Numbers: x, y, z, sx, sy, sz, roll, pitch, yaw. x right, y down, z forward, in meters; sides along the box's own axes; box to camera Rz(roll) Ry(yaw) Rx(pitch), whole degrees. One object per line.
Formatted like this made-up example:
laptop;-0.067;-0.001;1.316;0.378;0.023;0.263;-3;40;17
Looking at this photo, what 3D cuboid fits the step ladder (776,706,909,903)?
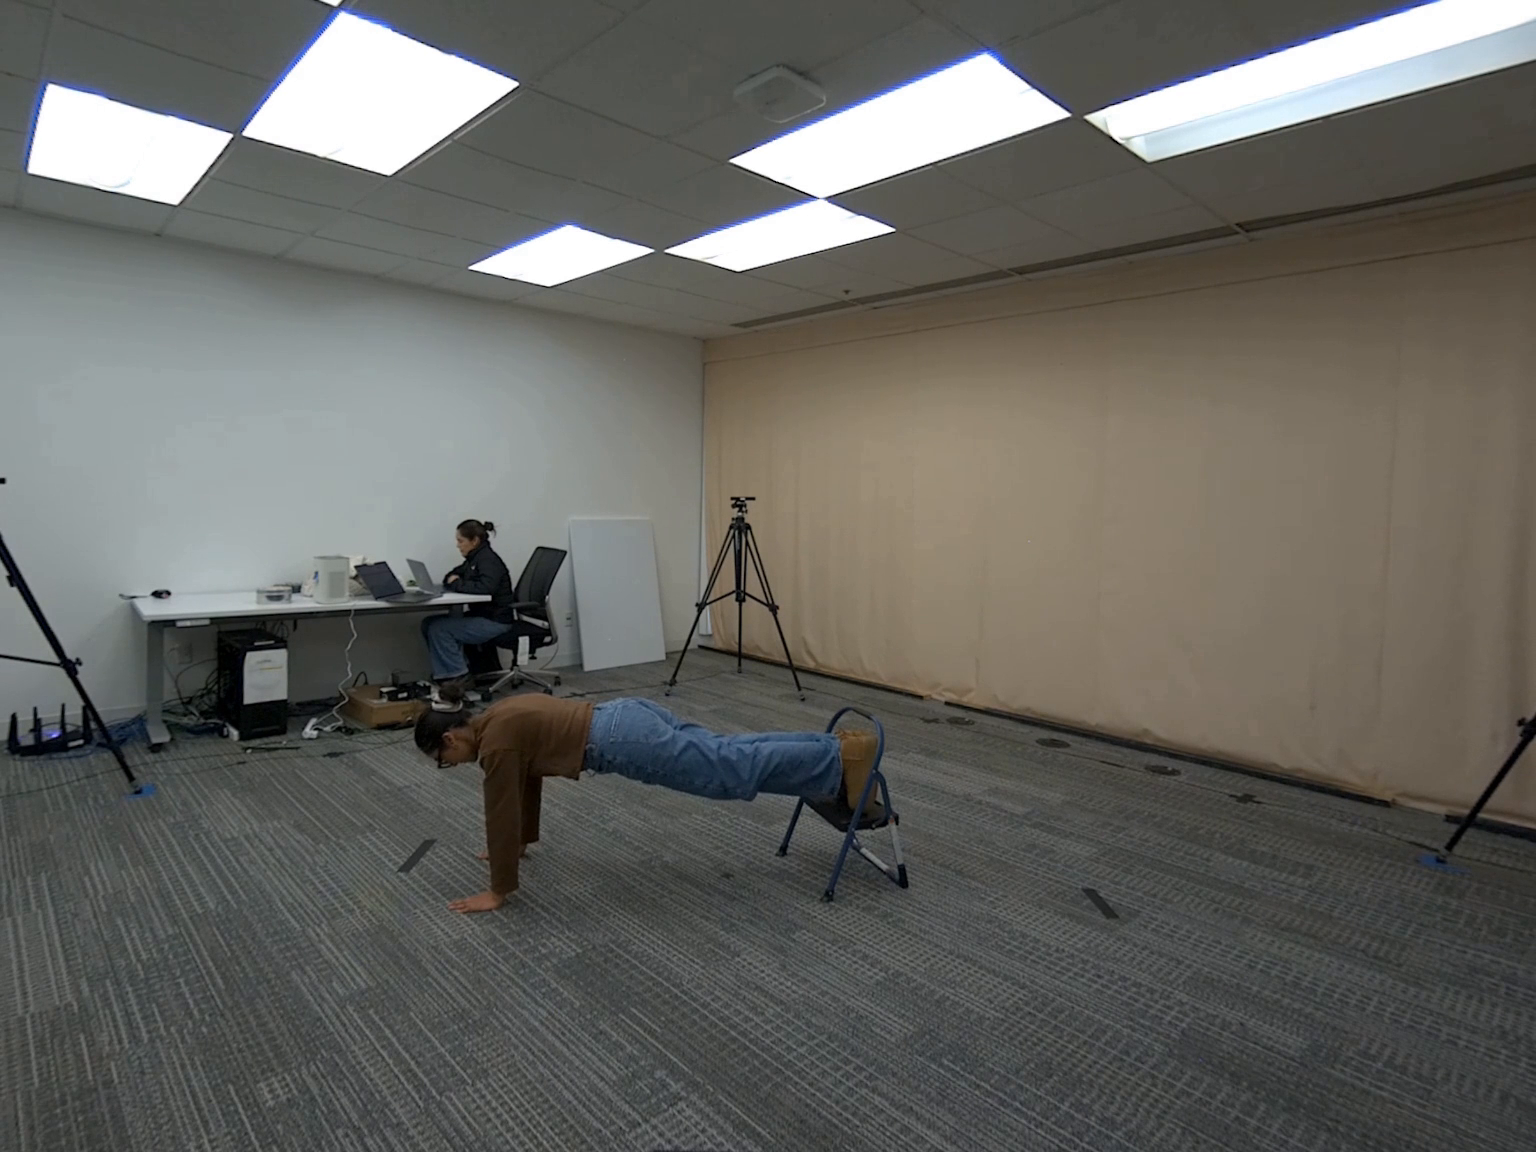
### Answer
step ladder;0.275;0.812;3.156;0.343;0.605;0.439;0;4;-23
